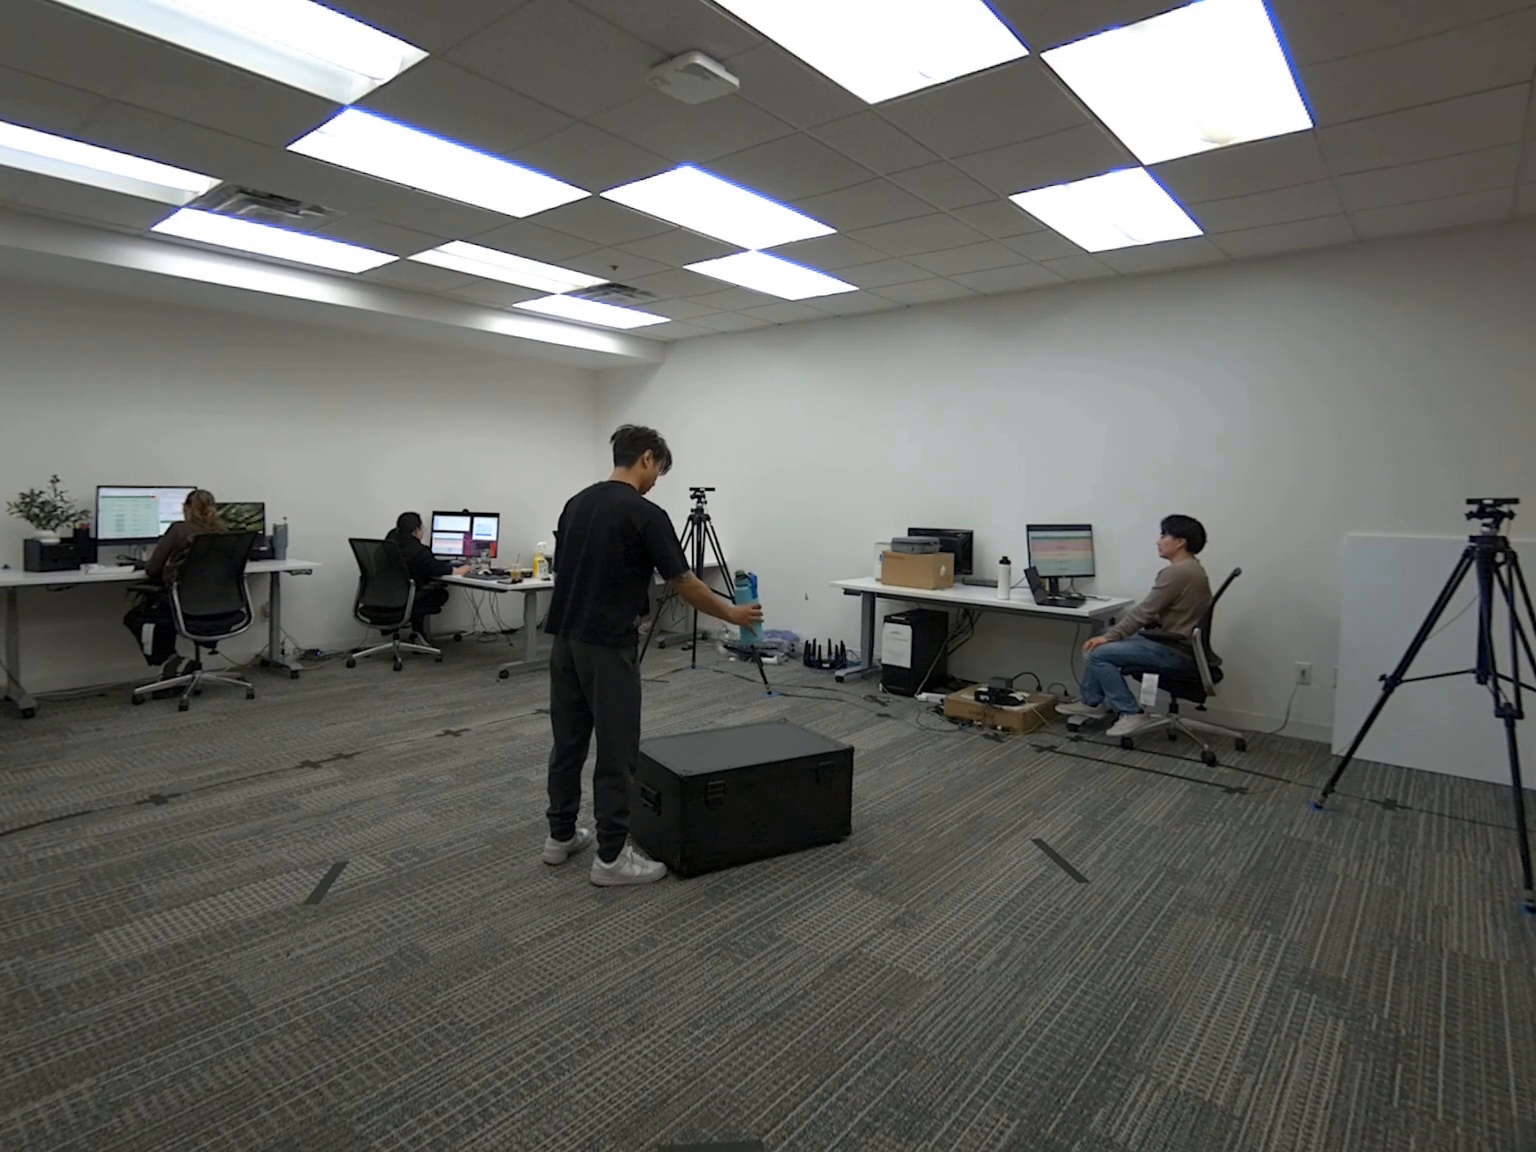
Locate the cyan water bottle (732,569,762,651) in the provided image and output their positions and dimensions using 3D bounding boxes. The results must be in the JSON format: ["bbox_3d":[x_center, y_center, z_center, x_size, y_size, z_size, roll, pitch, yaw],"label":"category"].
[{"bbox_3d":[-0.092,0.126,3.264,0.092,0.281,0.093,-4,8,-1],"label":"cyan water bottle"}]
